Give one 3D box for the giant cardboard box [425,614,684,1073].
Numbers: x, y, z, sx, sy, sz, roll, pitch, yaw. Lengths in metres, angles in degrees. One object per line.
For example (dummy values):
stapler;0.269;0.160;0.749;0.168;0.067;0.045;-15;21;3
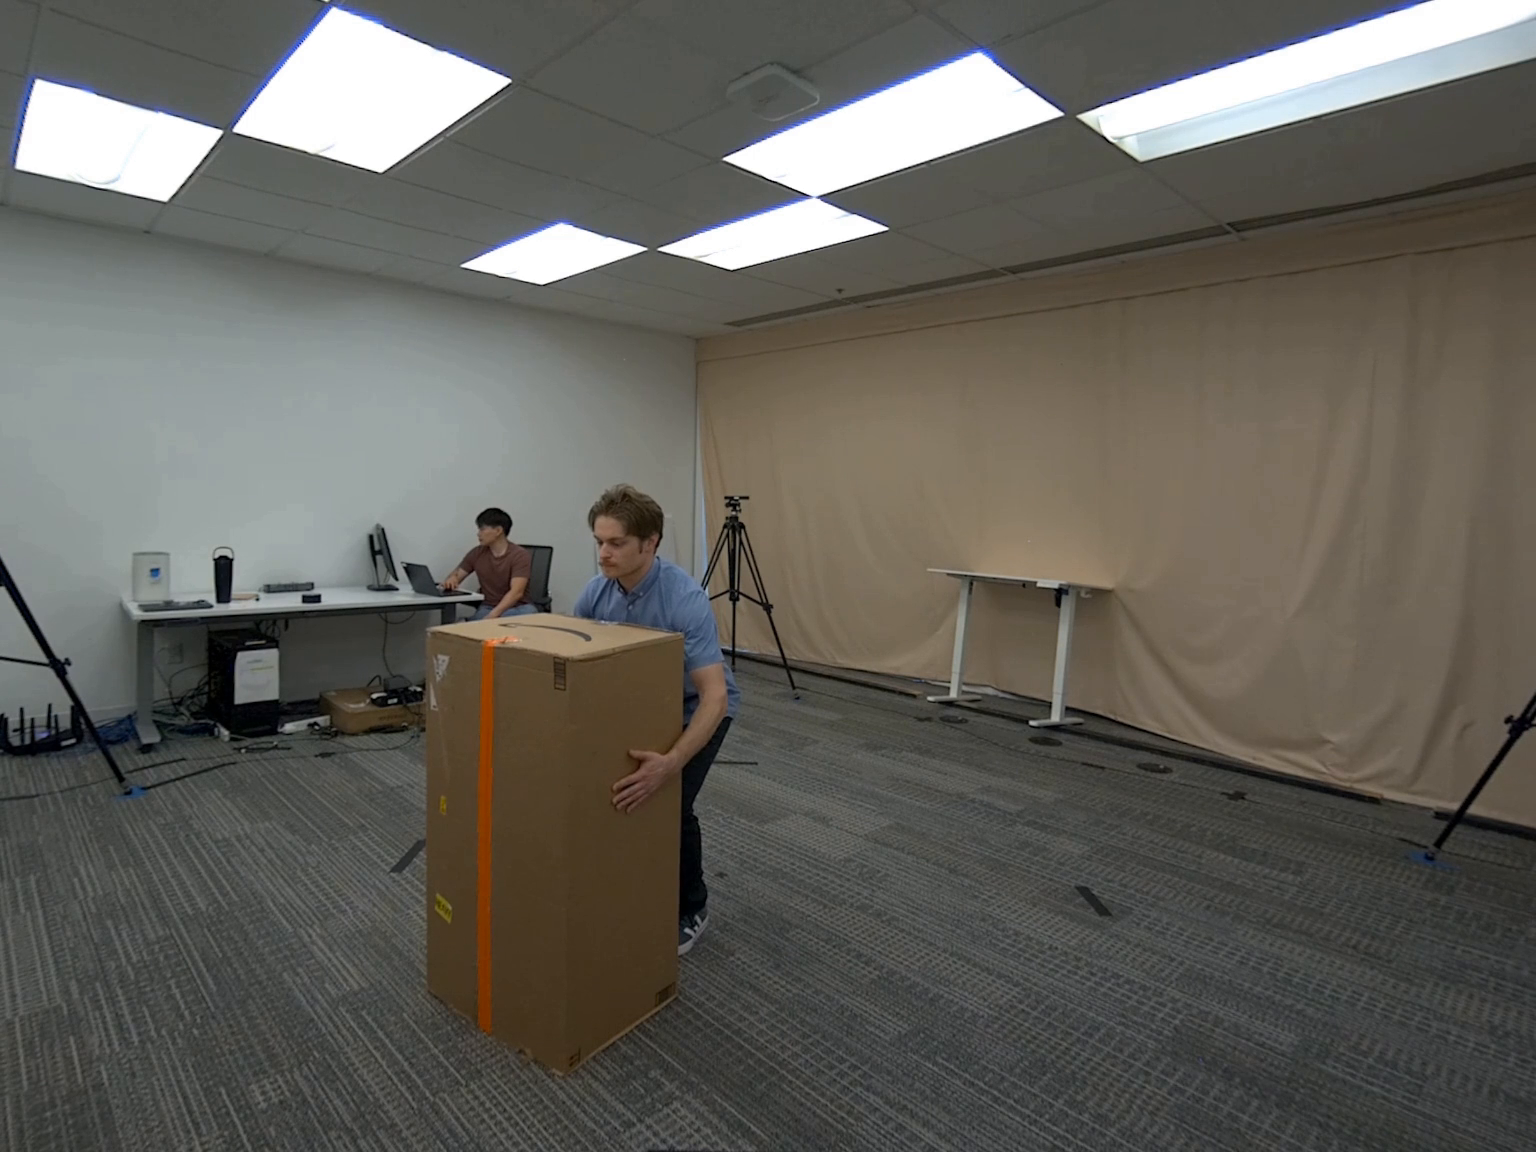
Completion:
giant cardboard box;-0.597;0.660;2.301;0.591;1.023;0.417;4;5;37
